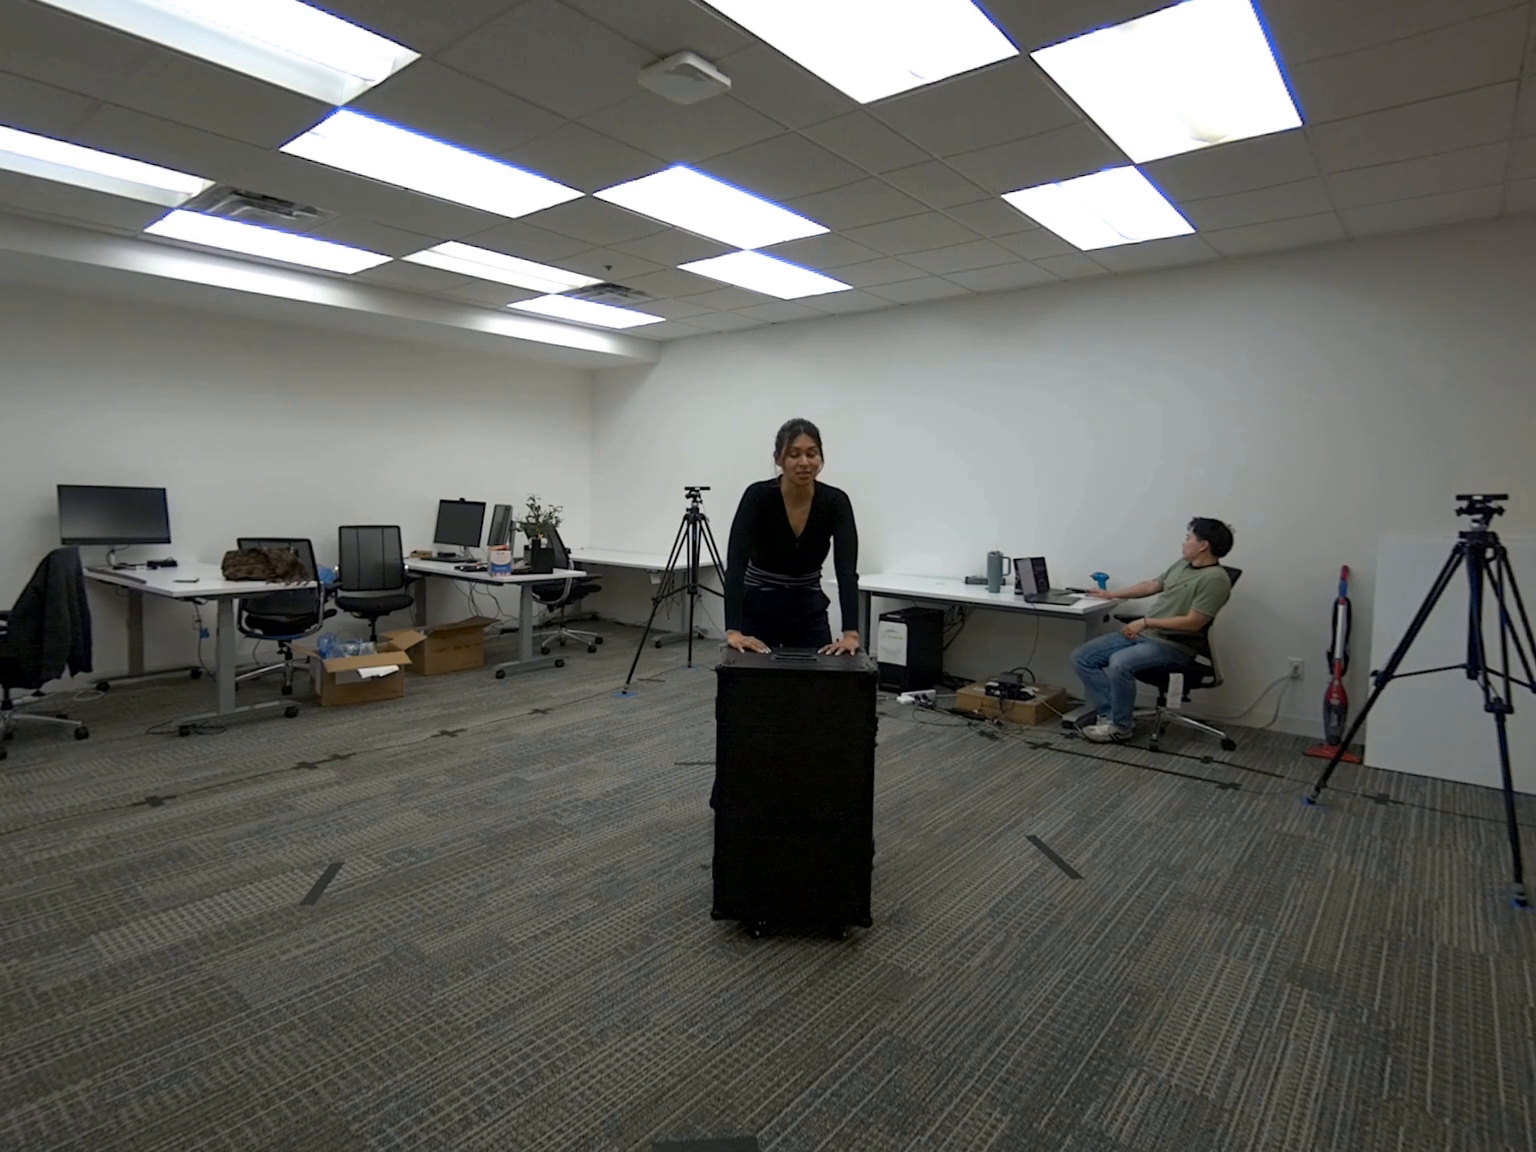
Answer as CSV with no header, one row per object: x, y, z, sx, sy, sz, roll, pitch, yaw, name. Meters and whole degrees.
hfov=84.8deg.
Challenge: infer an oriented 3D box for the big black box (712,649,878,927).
0.067,0.679,2.750,0.523,0.860,0.396,1,2,2,big black box
